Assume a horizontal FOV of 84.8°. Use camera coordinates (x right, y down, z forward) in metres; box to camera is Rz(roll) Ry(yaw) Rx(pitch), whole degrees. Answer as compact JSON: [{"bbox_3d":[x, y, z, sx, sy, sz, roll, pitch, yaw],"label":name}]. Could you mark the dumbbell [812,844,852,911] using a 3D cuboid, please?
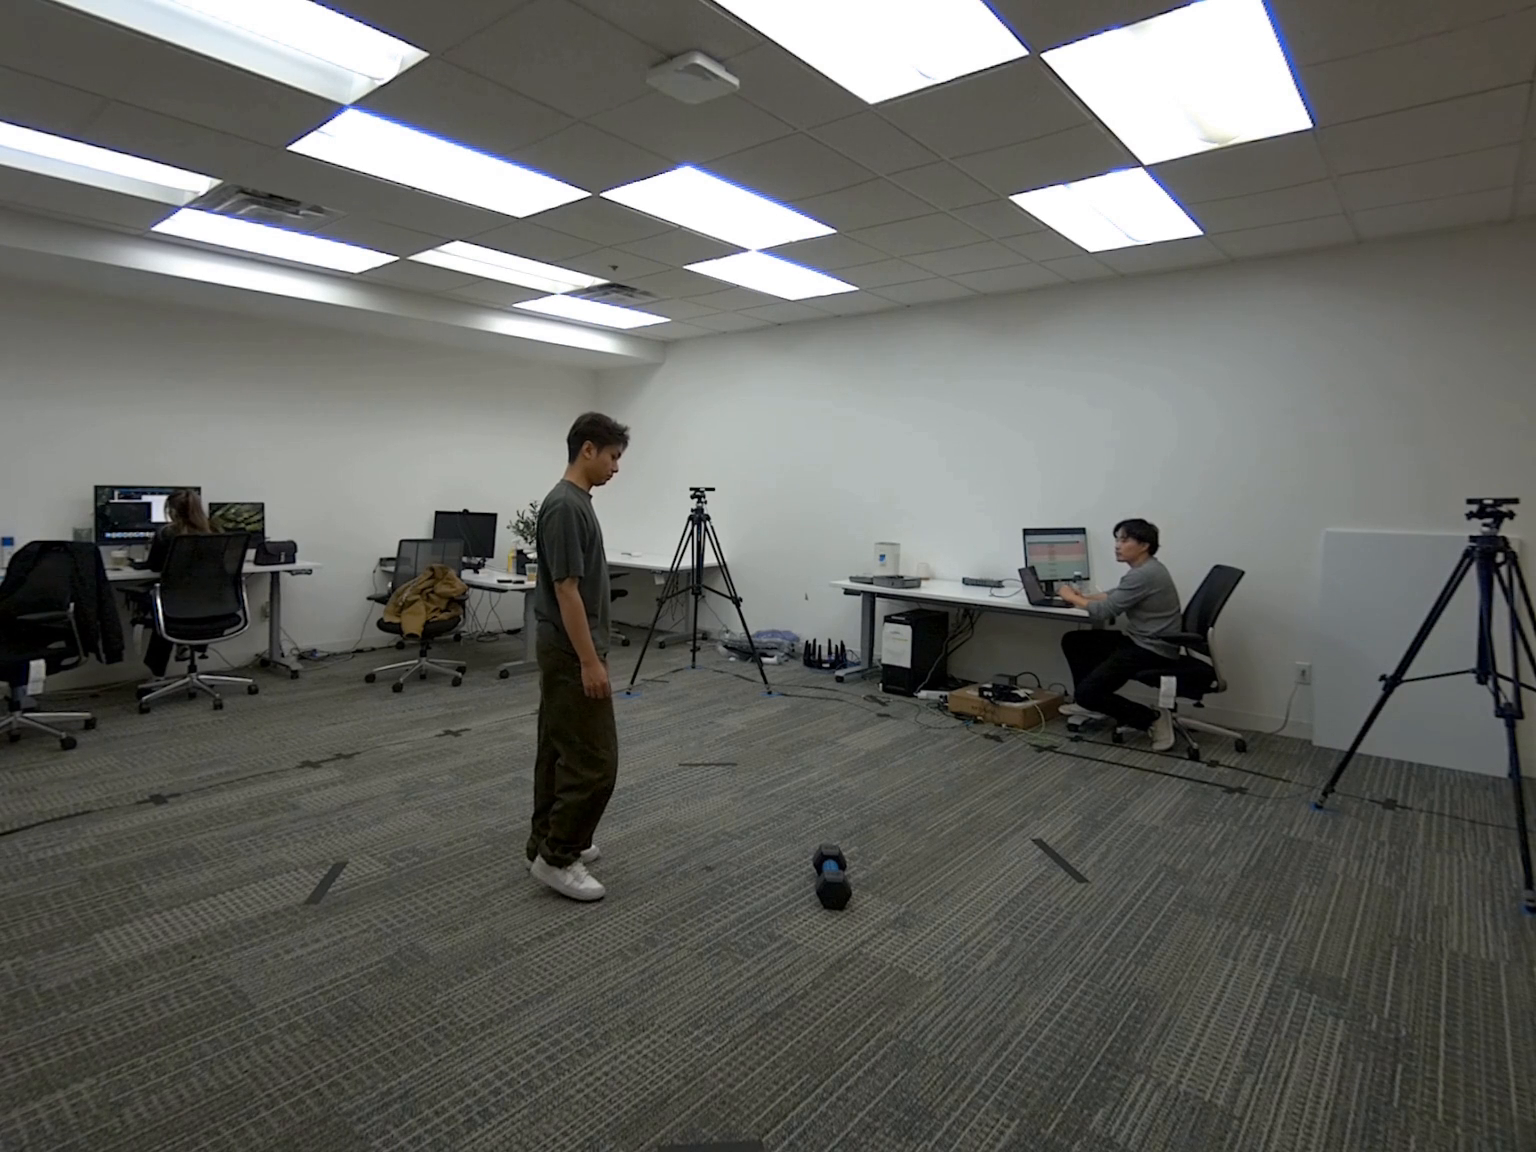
[{"bbox_3d":[0.212,1.039,2.956,0.108,0.123,0.294,31,4,-3],"label":"dumbbell"}]
